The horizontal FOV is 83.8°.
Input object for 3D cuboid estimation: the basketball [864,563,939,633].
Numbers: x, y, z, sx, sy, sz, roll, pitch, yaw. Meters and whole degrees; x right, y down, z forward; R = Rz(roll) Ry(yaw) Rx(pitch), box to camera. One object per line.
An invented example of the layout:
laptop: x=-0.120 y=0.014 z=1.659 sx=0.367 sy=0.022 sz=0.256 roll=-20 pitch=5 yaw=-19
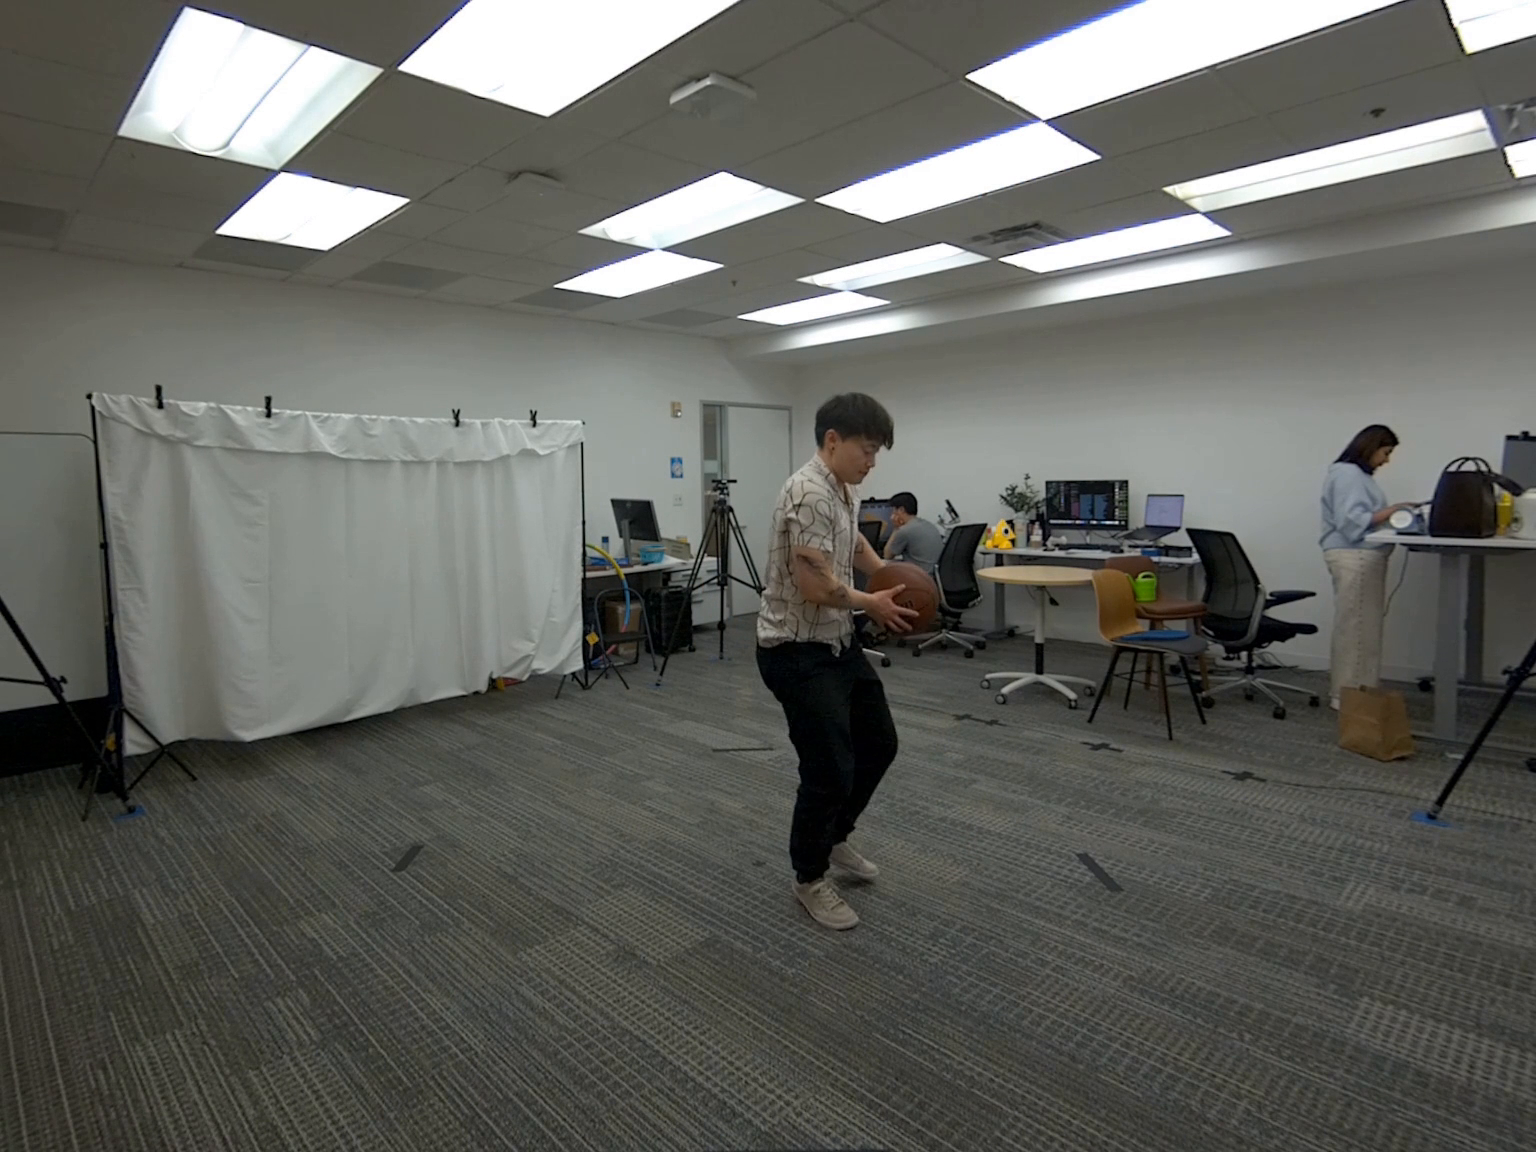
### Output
basketball: x=0.436 y=0.086 z=2.765 sx=0.236 sy=0.235 sz=0.237 roll=-1 pitch=5 yaw=-2
